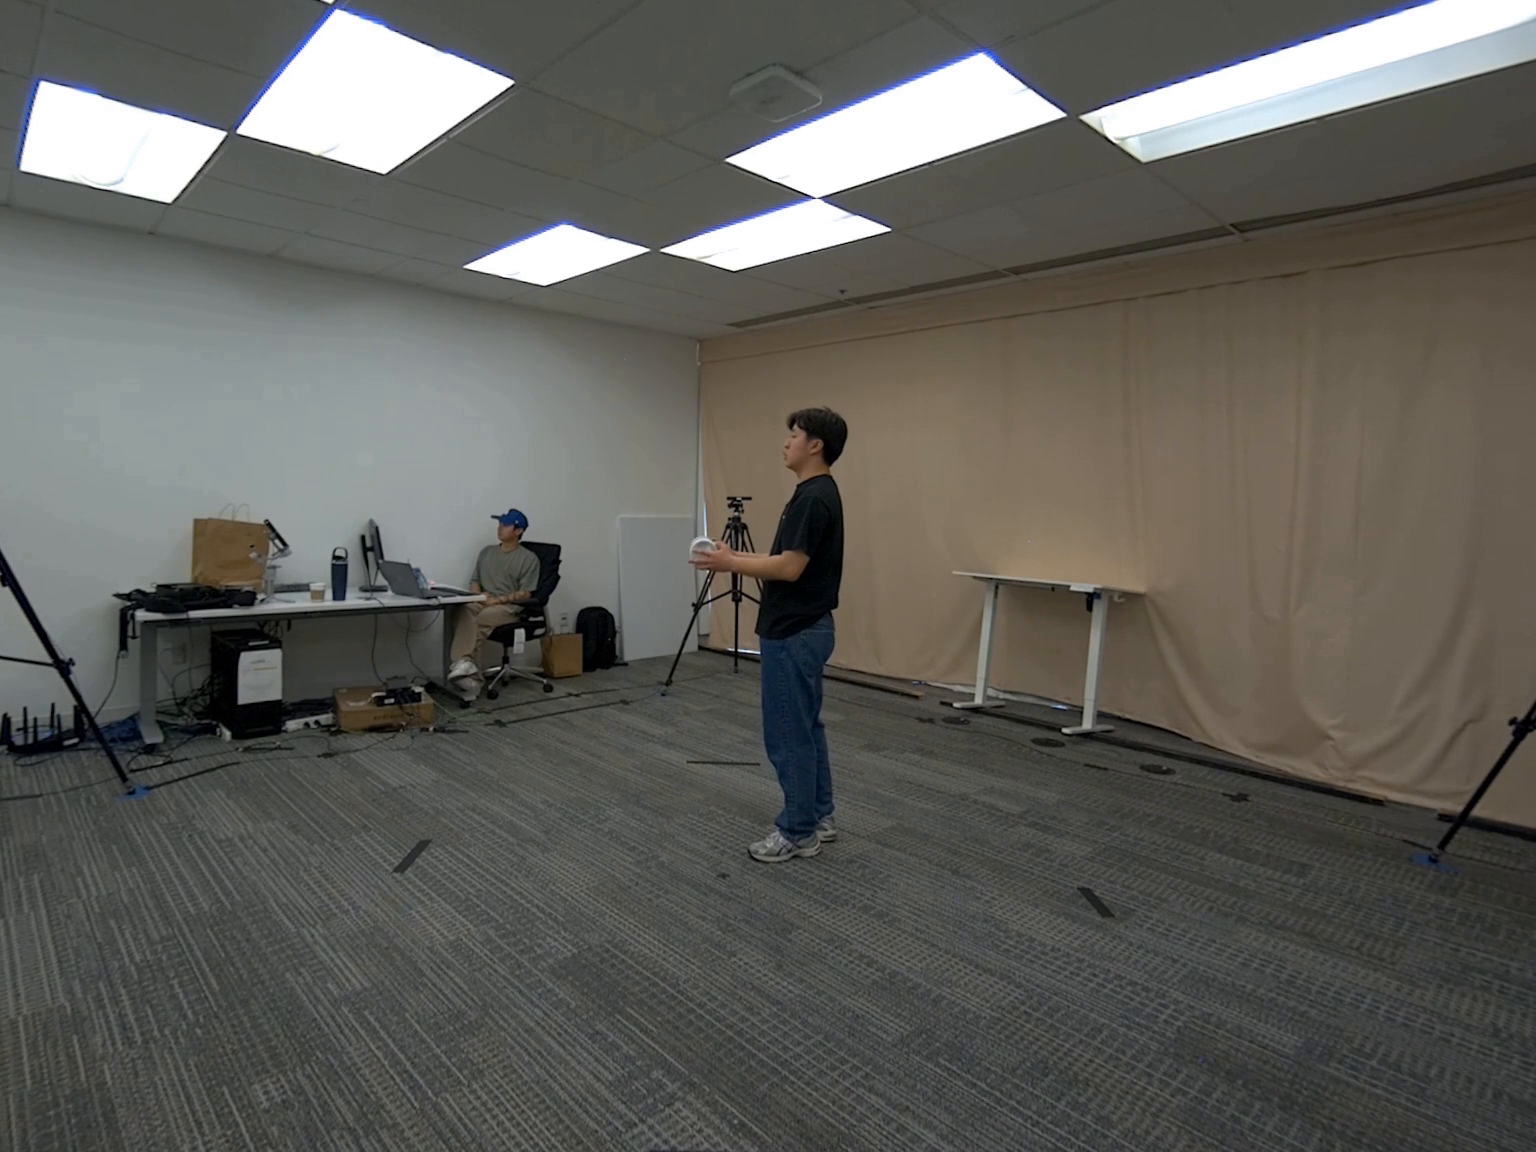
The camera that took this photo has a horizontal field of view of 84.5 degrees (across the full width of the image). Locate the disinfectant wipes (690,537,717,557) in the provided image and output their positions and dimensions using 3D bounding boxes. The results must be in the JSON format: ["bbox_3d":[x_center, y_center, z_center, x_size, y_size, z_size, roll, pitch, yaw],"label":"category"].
[{"bbox_3d":[-0.262,-0.098,3.361,0.117,0.117,0.219,1,4,-8],"label":"disinfectant wipes"}]
